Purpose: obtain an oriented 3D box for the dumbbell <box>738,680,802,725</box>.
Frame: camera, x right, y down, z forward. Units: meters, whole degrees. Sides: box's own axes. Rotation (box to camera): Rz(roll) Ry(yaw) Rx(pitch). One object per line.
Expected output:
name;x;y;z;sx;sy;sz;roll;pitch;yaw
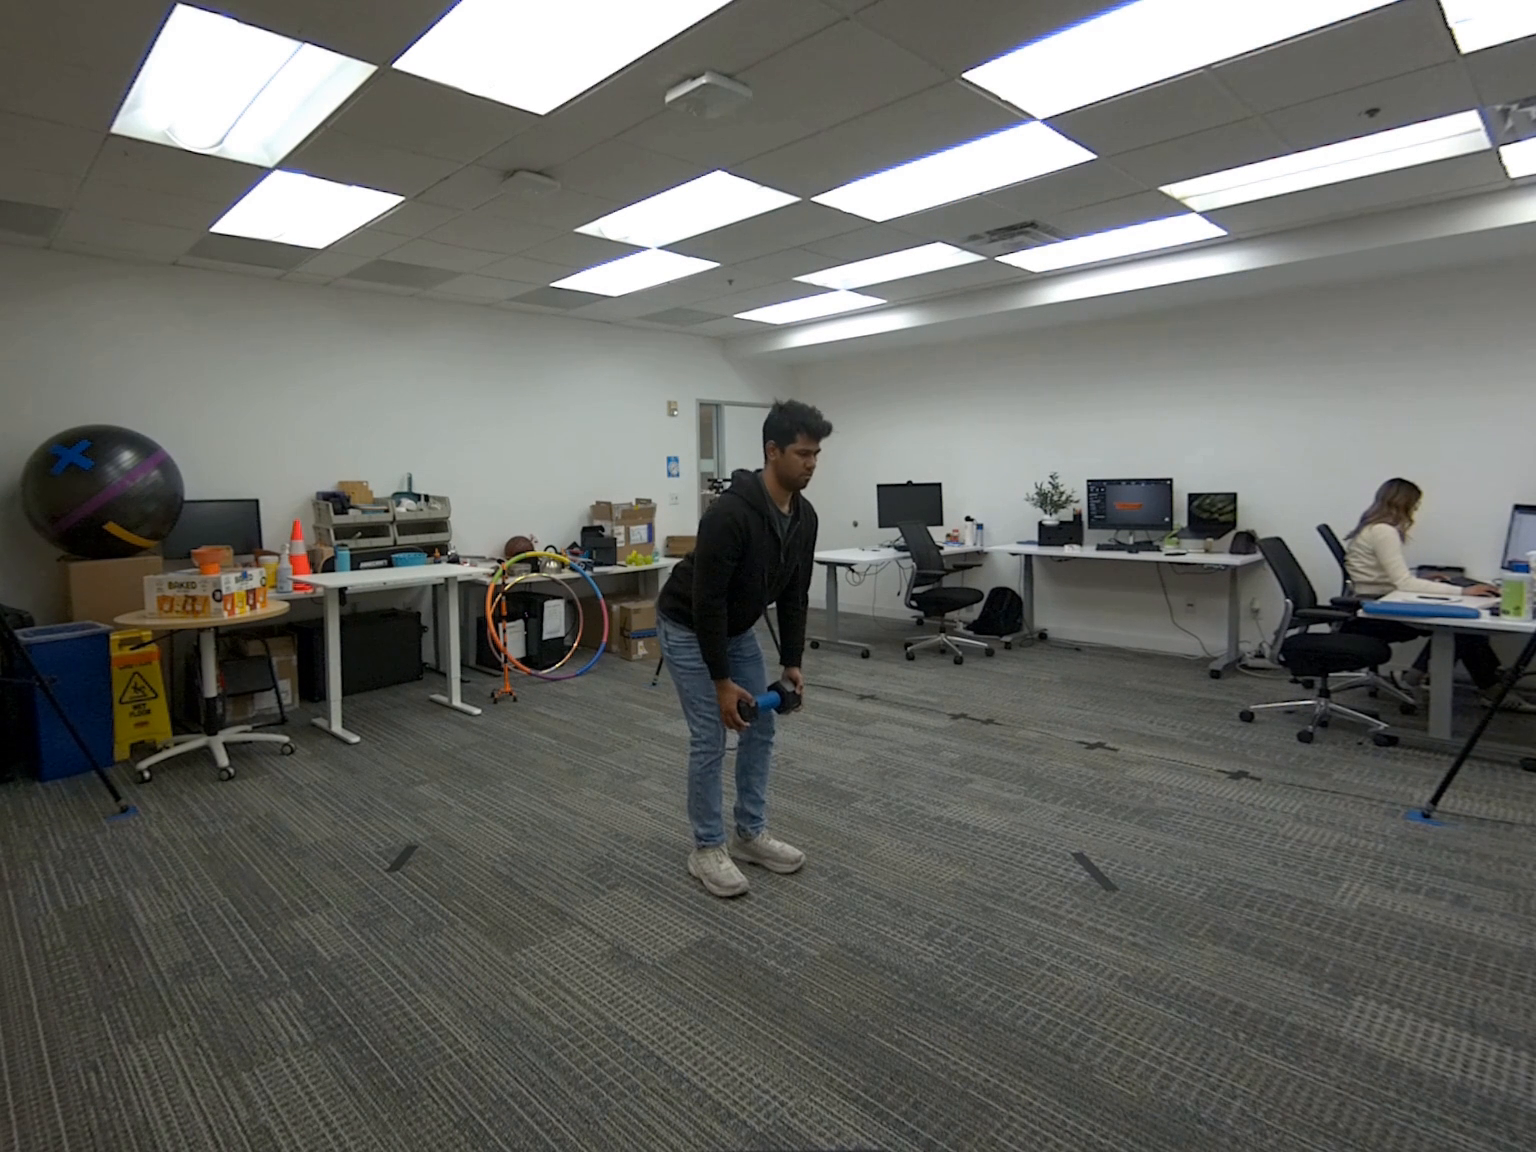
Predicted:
dumbbell;-0.027;0.436;2.947;0.286;0.111;0.124;-10;-19;-42
